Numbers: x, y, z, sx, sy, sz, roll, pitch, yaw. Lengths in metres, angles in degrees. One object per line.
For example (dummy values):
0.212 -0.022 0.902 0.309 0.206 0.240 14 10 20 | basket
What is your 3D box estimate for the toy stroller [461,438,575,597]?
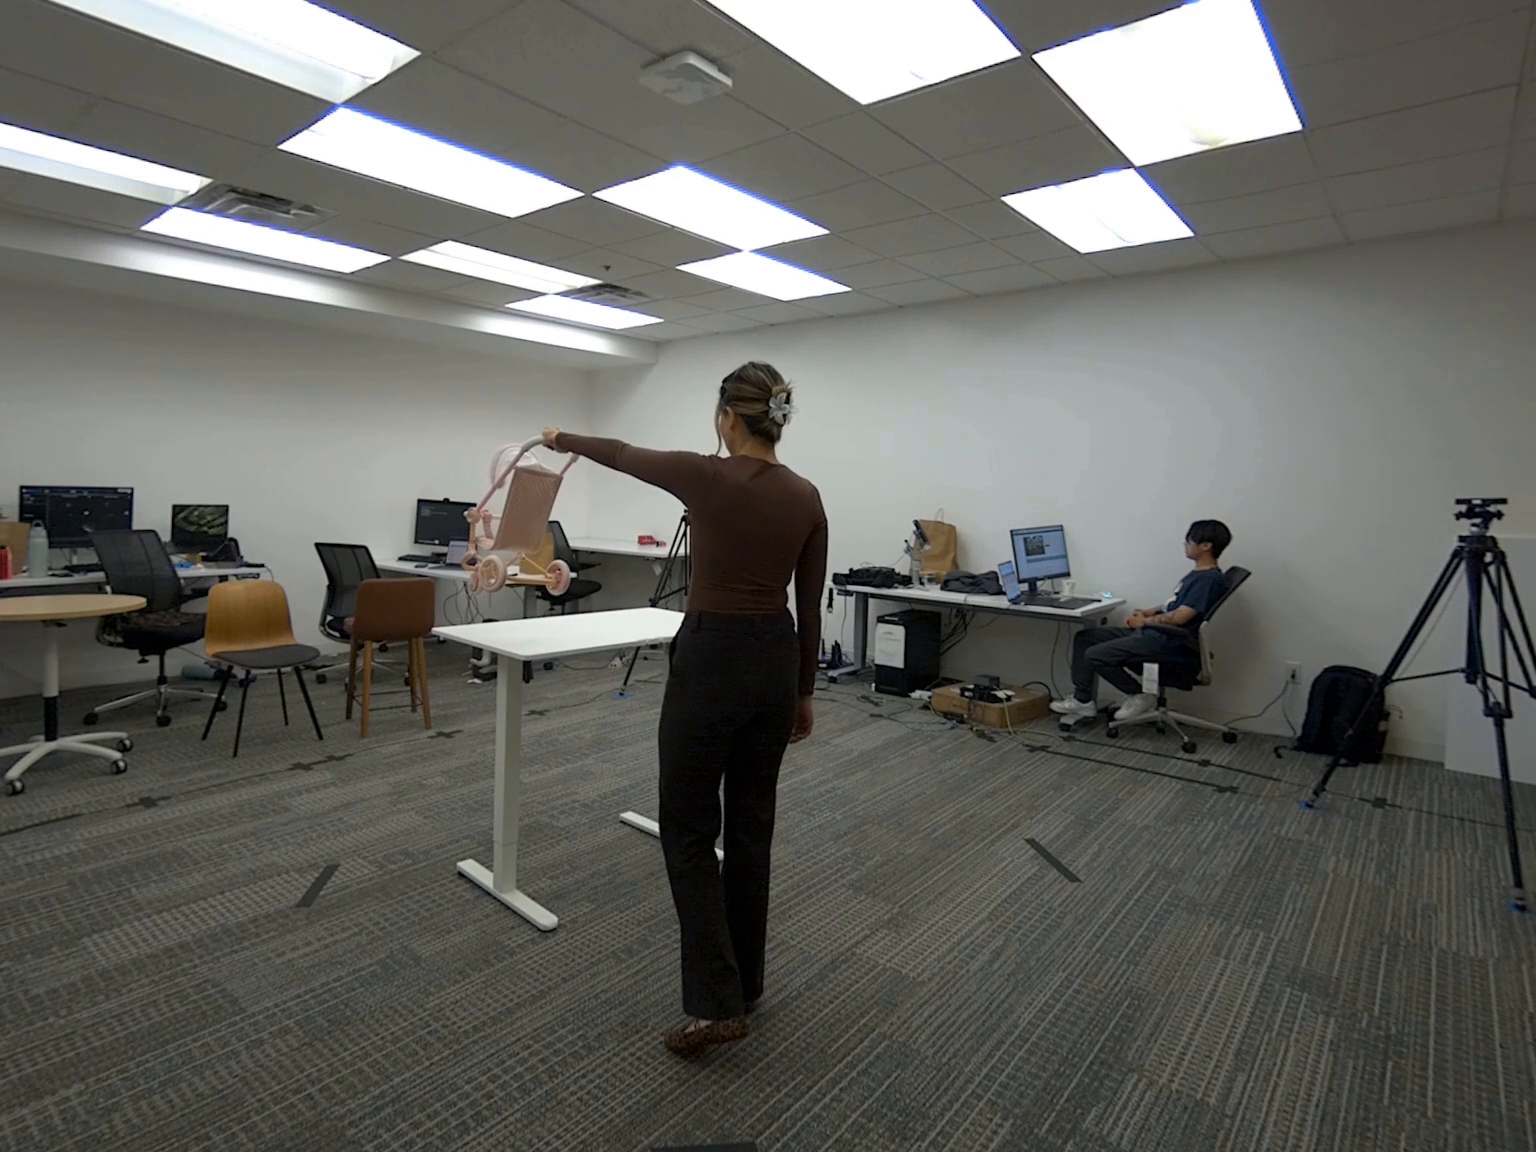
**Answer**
-0.802 -0.173 2.646 0.354 0.534 0.272 11 3 41 | toy stroller
